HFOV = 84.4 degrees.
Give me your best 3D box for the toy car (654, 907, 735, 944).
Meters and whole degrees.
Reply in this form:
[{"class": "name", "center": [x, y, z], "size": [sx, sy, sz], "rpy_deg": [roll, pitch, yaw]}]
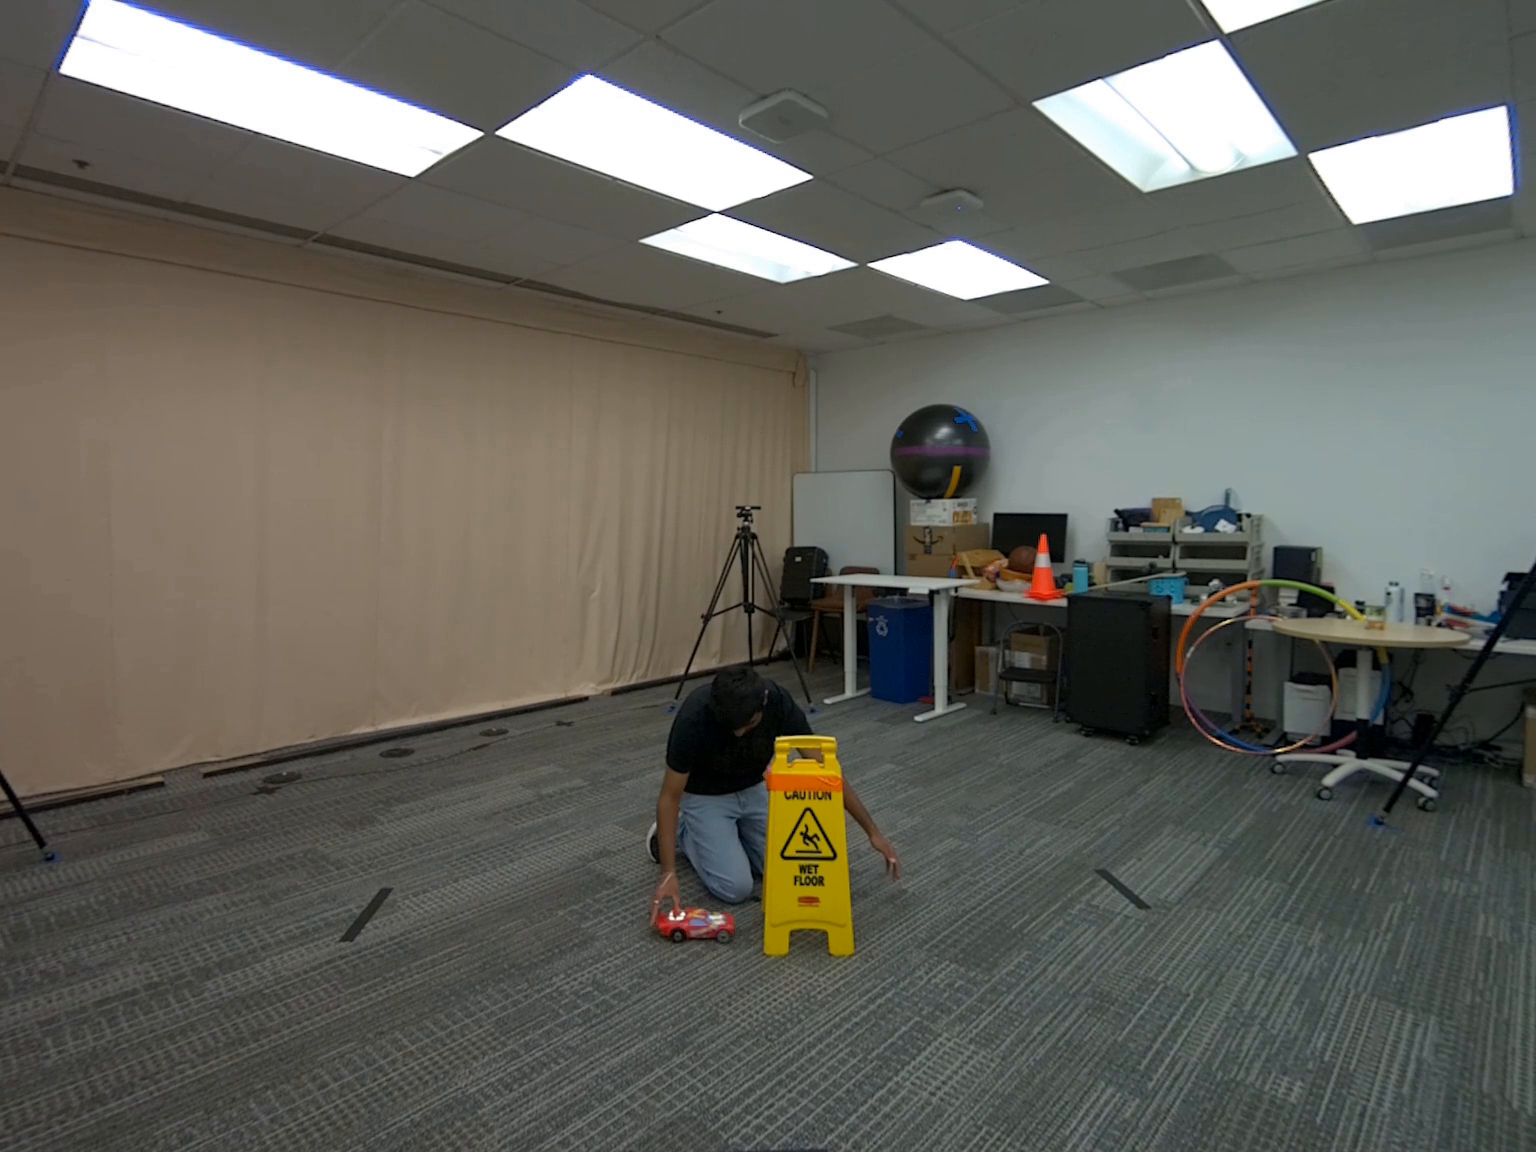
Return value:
[{"class": "toy car", "center": [-0.235, 1.129, 2.734], "size": [0.254, 0.083, 0.131], "rpy_deg": [10, 3, -2]}]
